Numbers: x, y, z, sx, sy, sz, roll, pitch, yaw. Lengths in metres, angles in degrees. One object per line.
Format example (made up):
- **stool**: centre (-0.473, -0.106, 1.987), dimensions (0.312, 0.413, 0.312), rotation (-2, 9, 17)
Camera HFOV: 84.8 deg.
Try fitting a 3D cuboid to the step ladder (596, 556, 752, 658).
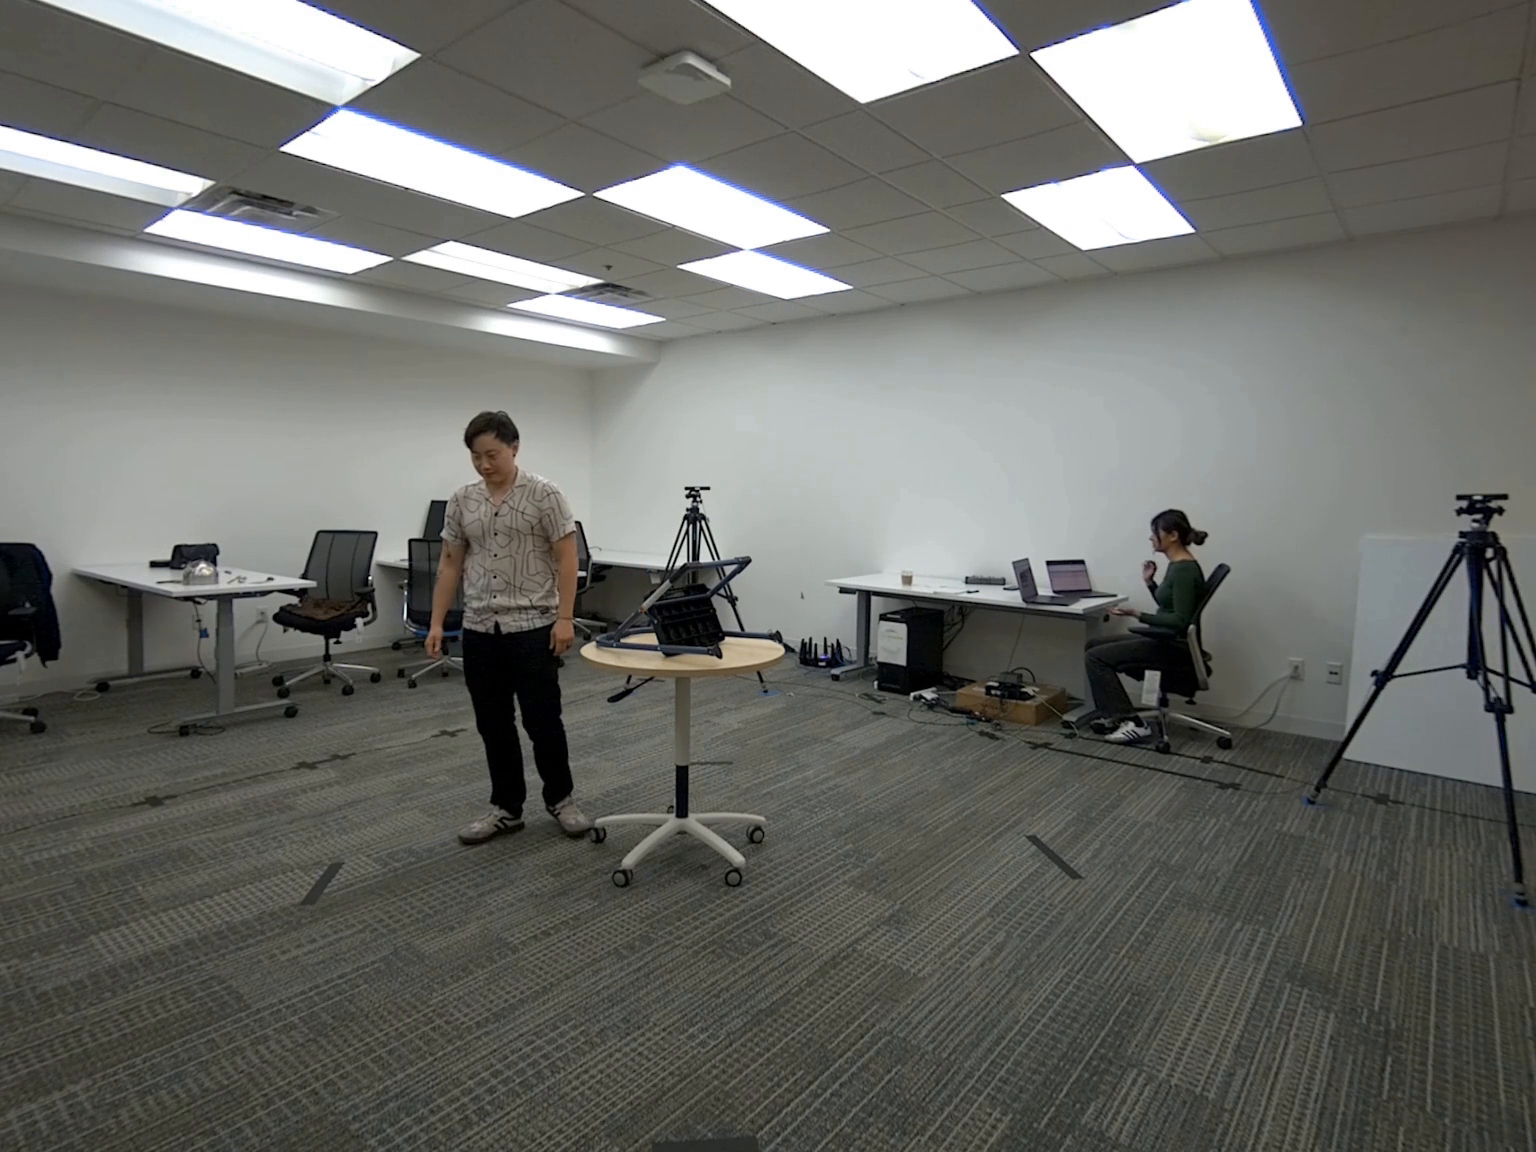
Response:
- **step ladder**: centre (-0.360, 0.202, 3.218), dimensions (0.615, 0.354, 0.419), rotation (-25, -11, 32)
